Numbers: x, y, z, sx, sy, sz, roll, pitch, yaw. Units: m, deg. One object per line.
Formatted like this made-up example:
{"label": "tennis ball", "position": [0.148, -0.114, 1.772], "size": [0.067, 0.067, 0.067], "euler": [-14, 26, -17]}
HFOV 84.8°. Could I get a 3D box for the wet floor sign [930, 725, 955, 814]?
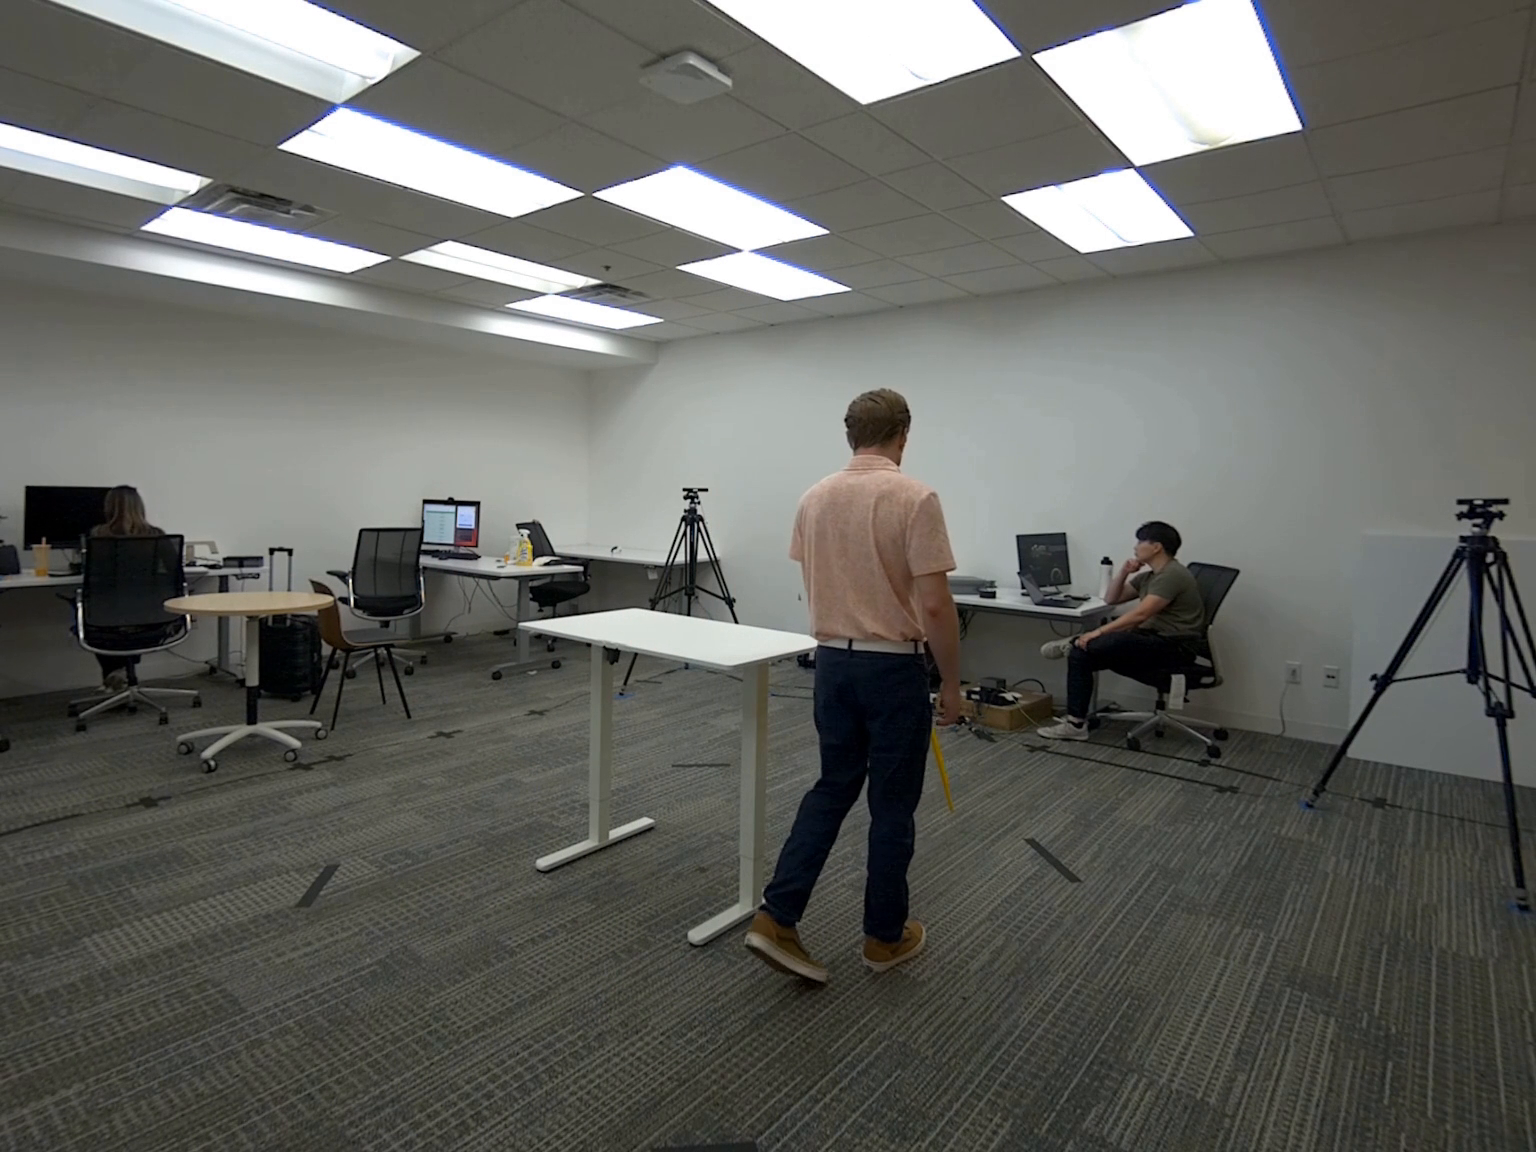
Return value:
{"label": "wet floor sign", "position": [0.458, 0.422, 2.836], "size": [0.292, 0.642, 0.282], "euler": [-4, 6, 6]}
